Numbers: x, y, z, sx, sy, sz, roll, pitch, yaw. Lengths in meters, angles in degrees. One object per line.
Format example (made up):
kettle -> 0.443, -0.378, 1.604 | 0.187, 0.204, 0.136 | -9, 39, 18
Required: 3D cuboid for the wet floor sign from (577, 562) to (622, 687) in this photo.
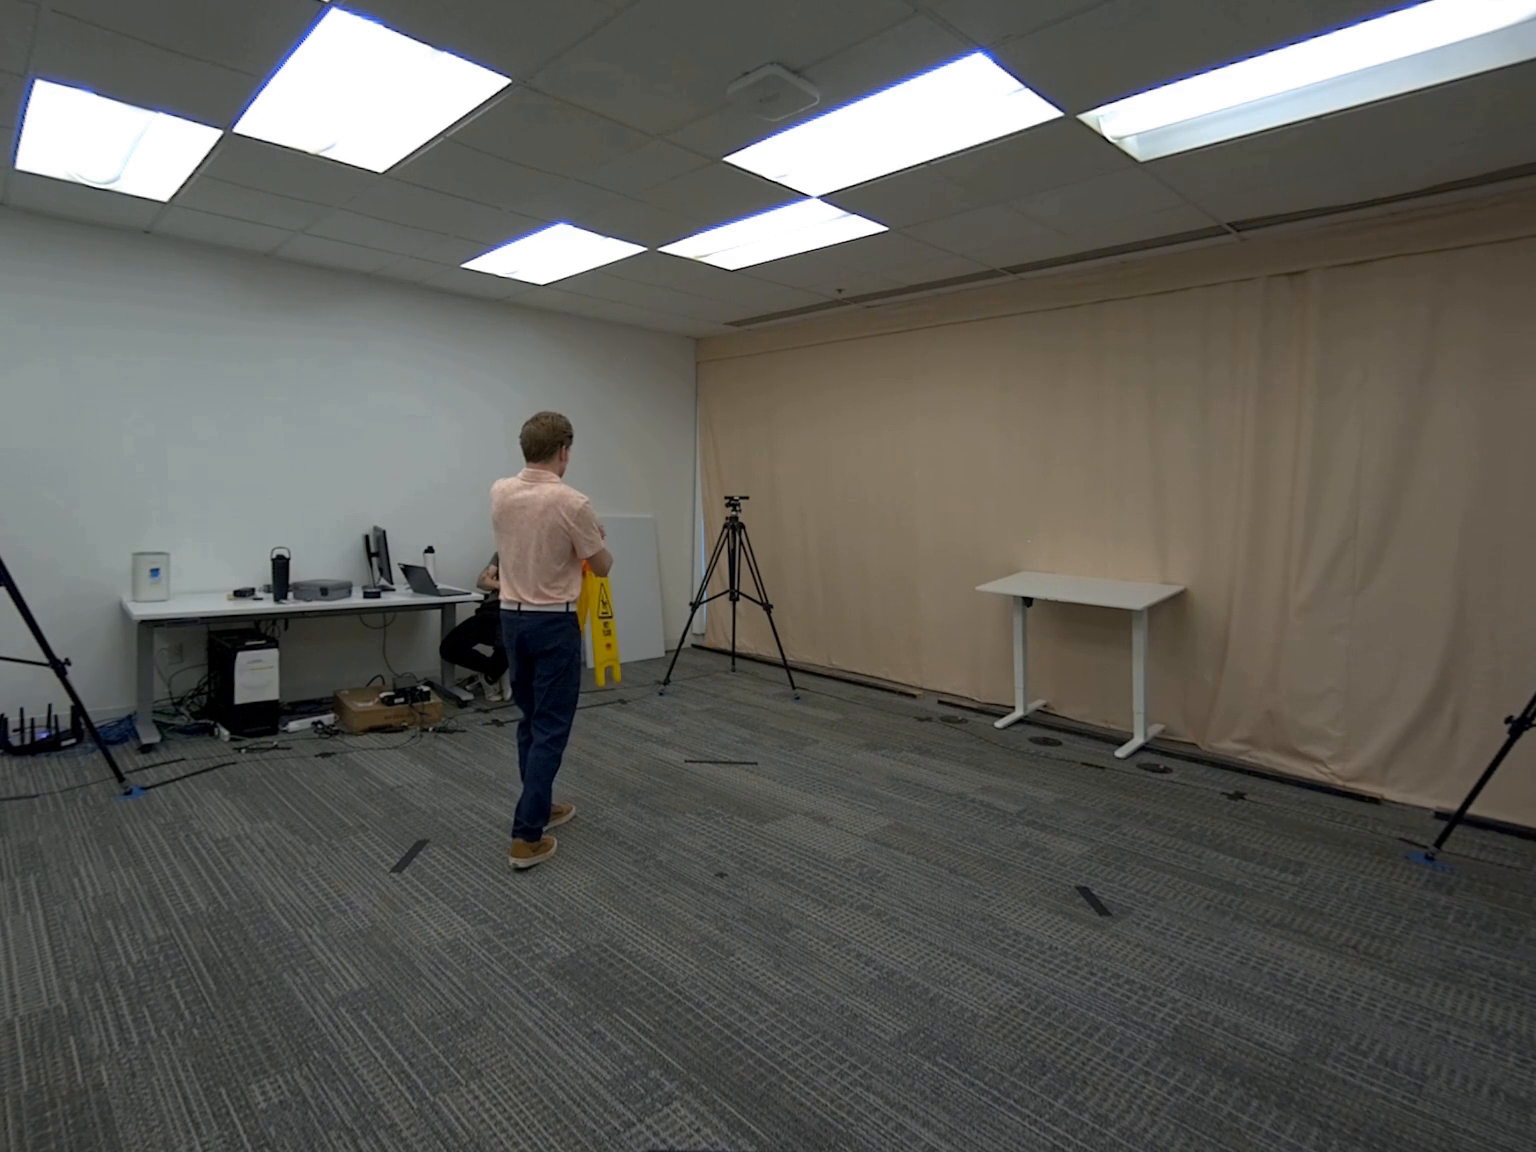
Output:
wet floor sign -> -0.800, 0.146, 3.722 | 0.293, 0.647, 0.278 | 4, -3, 12
